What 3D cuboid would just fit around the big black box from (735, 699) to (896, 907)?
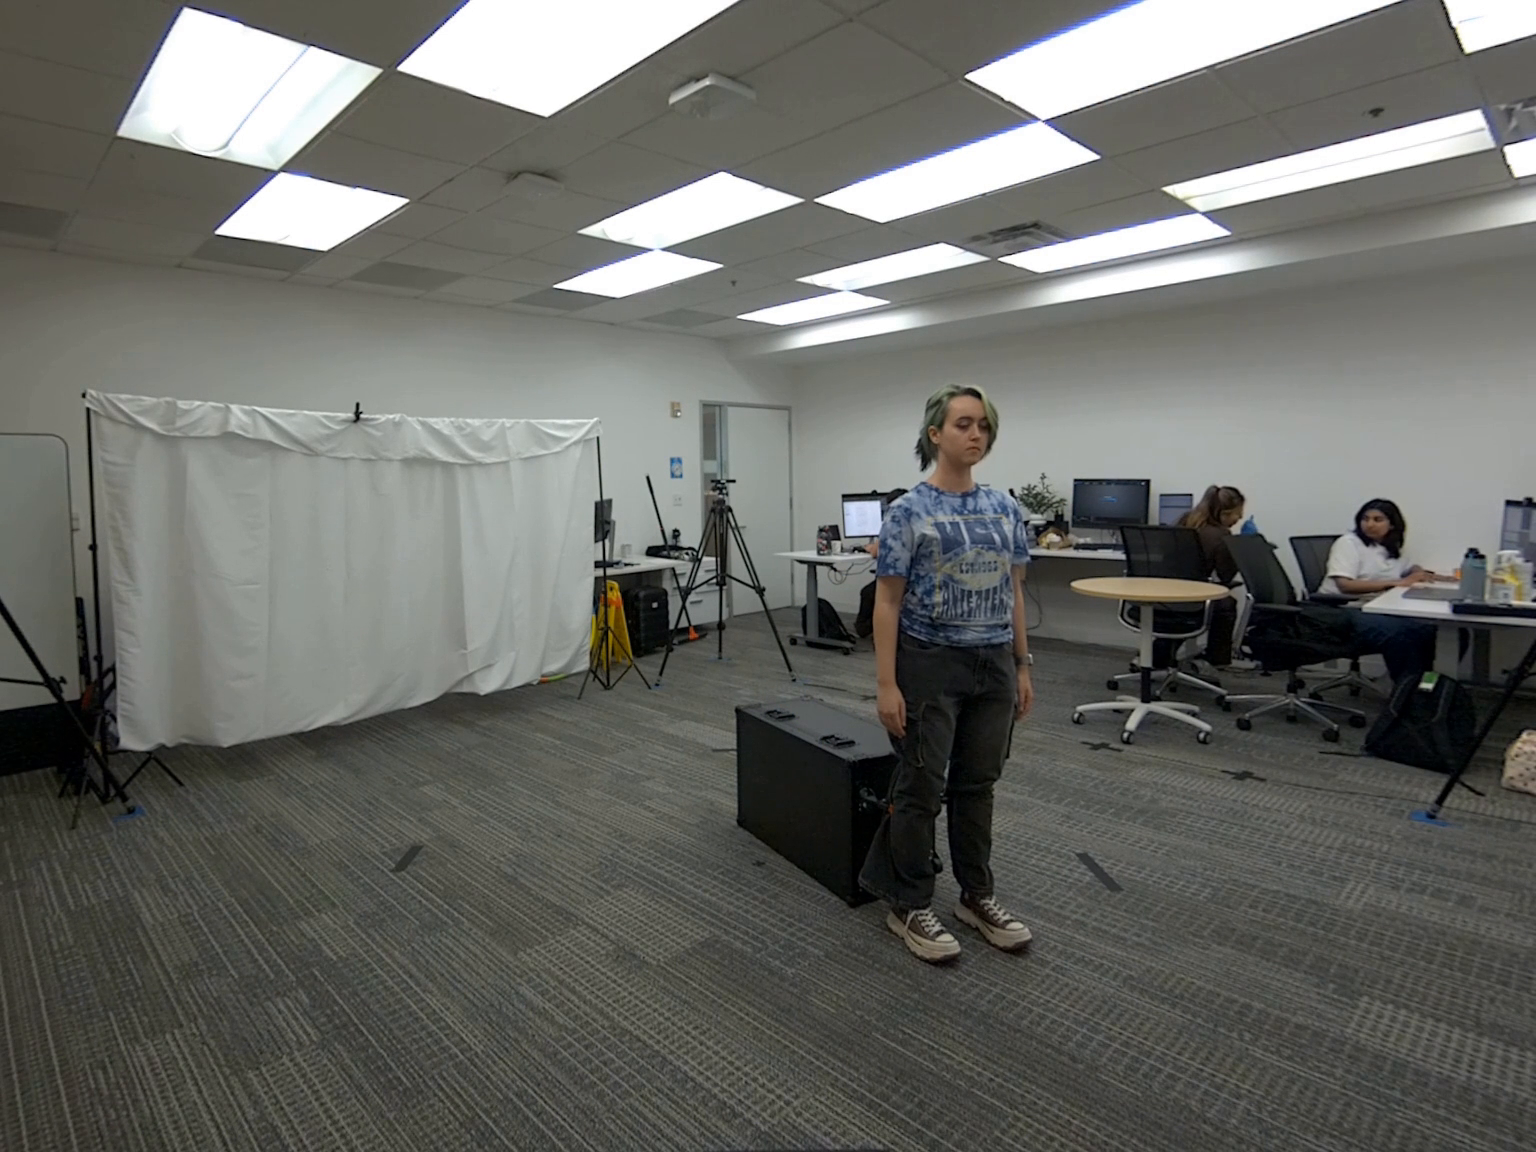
[{"bbox_3d":[0.246,0.792,3.163,0.387,0.519,0.885,-4,7,-28],"label":"big black box"}]
